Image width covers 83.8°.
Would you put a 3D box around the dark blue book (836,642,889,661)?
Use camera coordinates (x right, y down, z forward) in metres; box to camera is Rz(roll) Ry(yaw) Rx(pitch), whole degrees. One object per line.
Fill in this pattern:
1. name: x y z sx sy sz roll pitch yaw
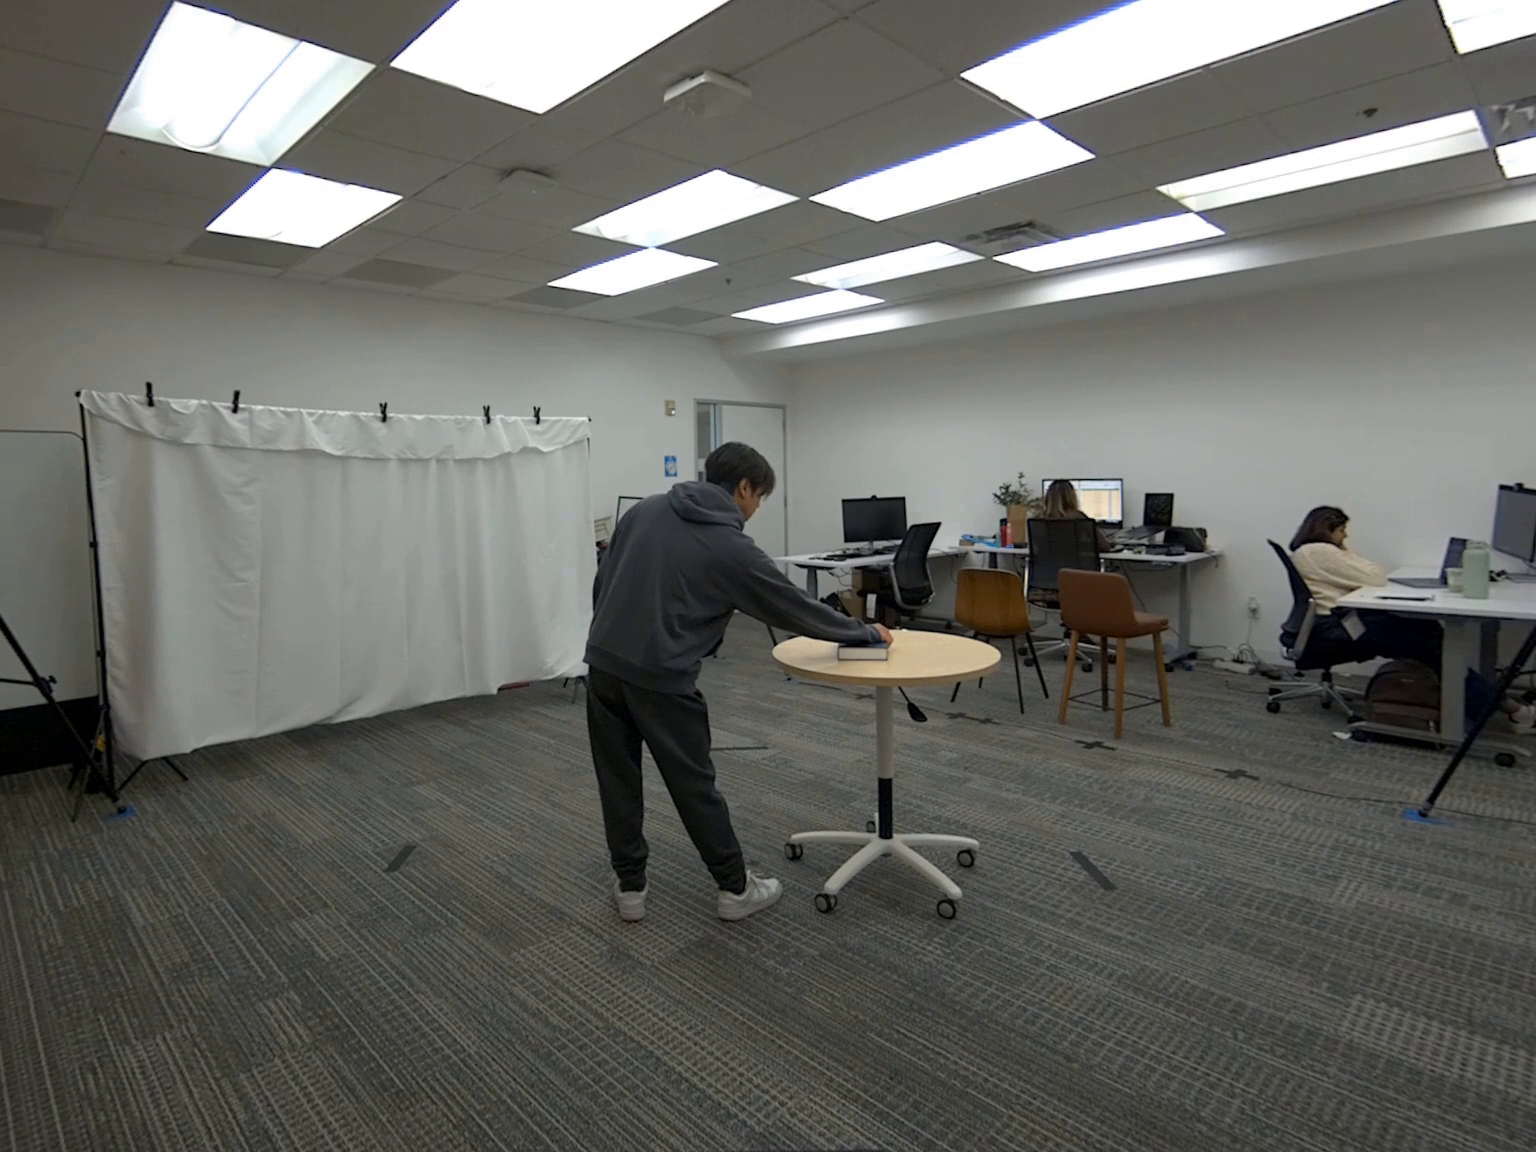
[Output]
1. dark blue book: 0.317 0.241 2.920 0.164 0.045 0.245 1 7 6
